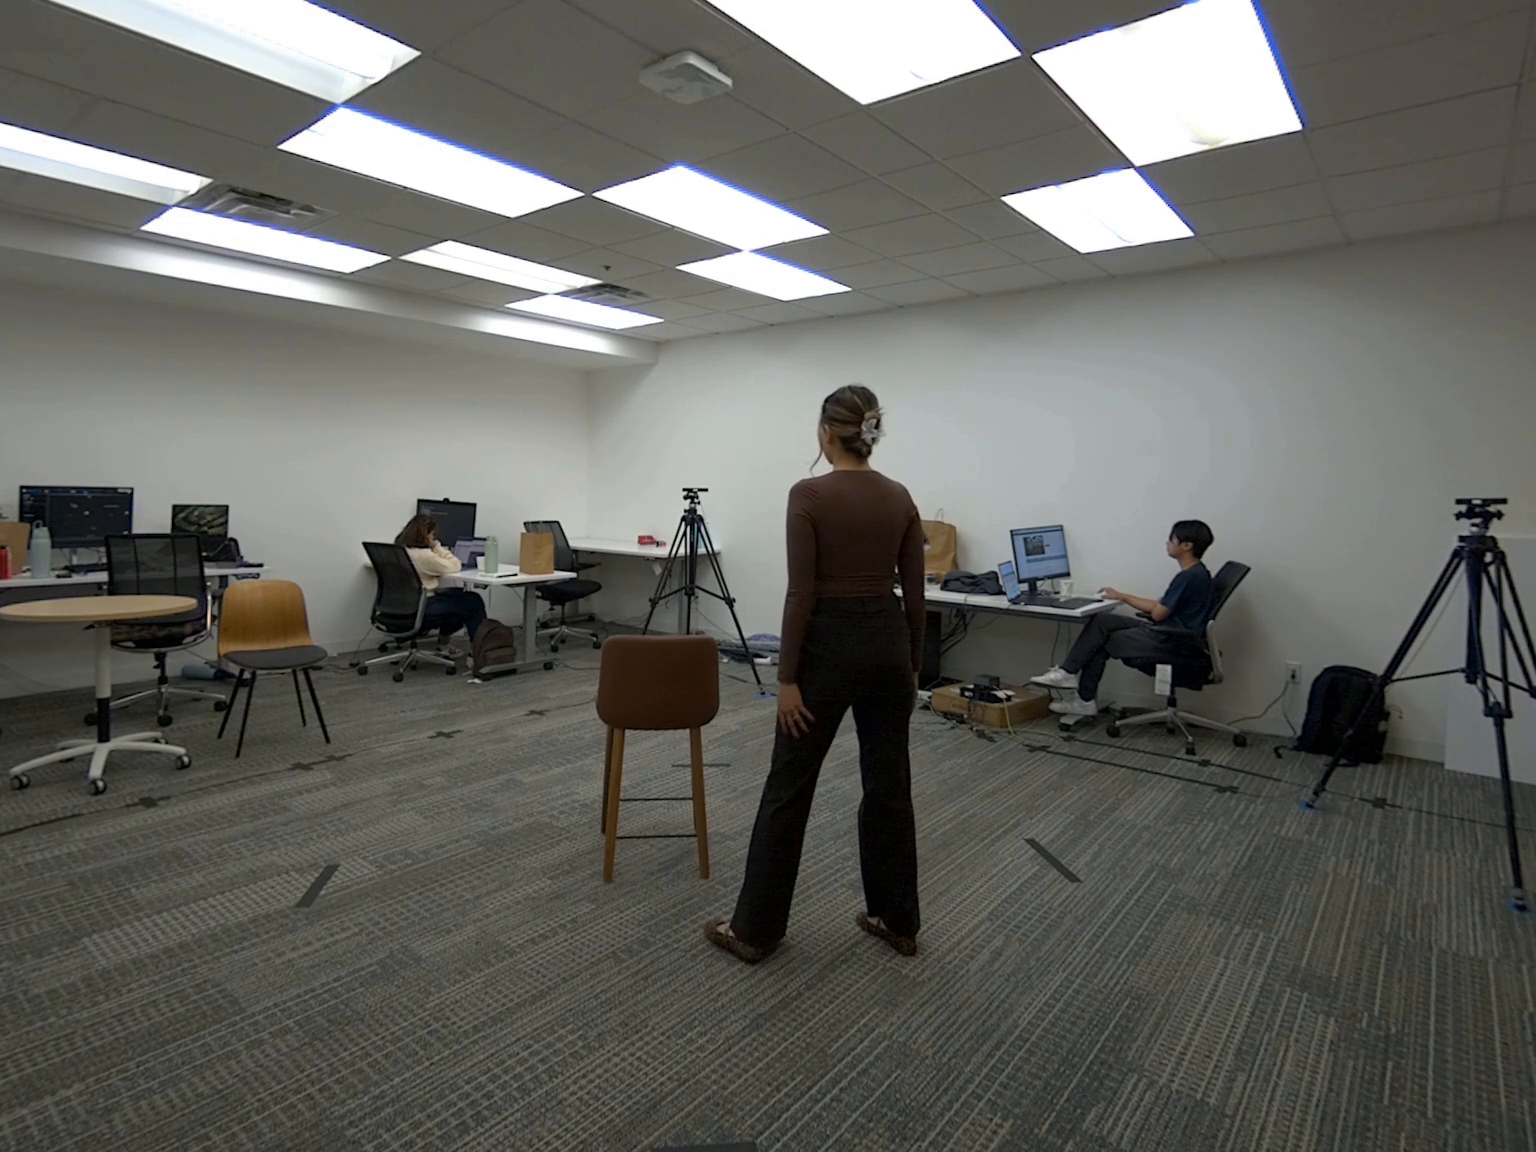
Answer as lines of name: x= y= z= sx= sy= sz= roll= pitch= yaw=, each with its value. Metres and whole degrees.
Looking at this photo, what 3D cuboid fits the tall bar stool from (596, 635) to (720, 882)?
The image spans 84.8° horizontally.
tall bar stool: x=-0.436 y=0.623 z=3.210 sx=0.452 sy=0.886 sz=0.474 roll=0 pitch=5 yaw=-9
